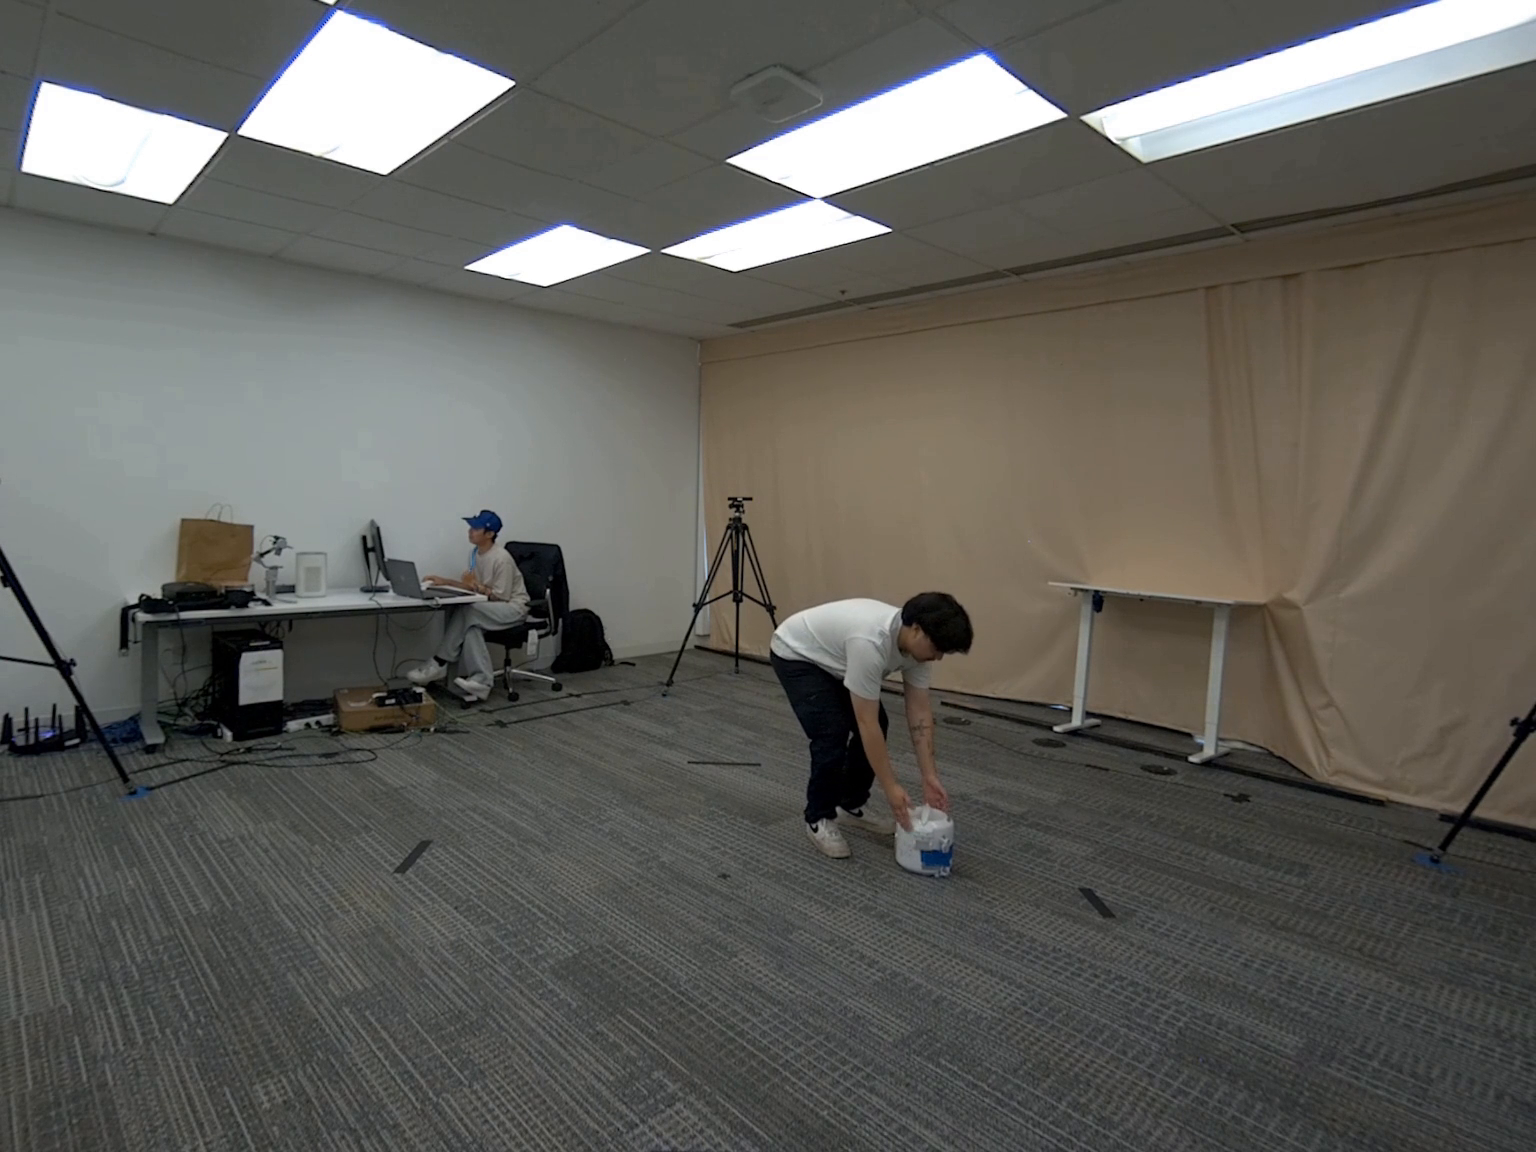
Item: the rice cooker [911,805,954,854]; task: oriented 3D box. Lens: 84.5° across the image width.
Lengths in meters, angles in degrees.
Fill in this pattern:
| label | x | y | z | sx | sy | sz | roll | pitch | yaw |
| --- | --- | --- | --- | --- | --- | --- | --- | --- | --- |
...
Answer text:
| label | x | y | z | sx | sy | sz | roll | pitch | yaw |
| --- | --- | --- | --- | --- | --- | --- | --- | --- | --- |
| rice cooker | 0.590 | 0.997 | 3.225 | 0.220 | 0.232 | 0.218 | 4 | 3 | 16 |
